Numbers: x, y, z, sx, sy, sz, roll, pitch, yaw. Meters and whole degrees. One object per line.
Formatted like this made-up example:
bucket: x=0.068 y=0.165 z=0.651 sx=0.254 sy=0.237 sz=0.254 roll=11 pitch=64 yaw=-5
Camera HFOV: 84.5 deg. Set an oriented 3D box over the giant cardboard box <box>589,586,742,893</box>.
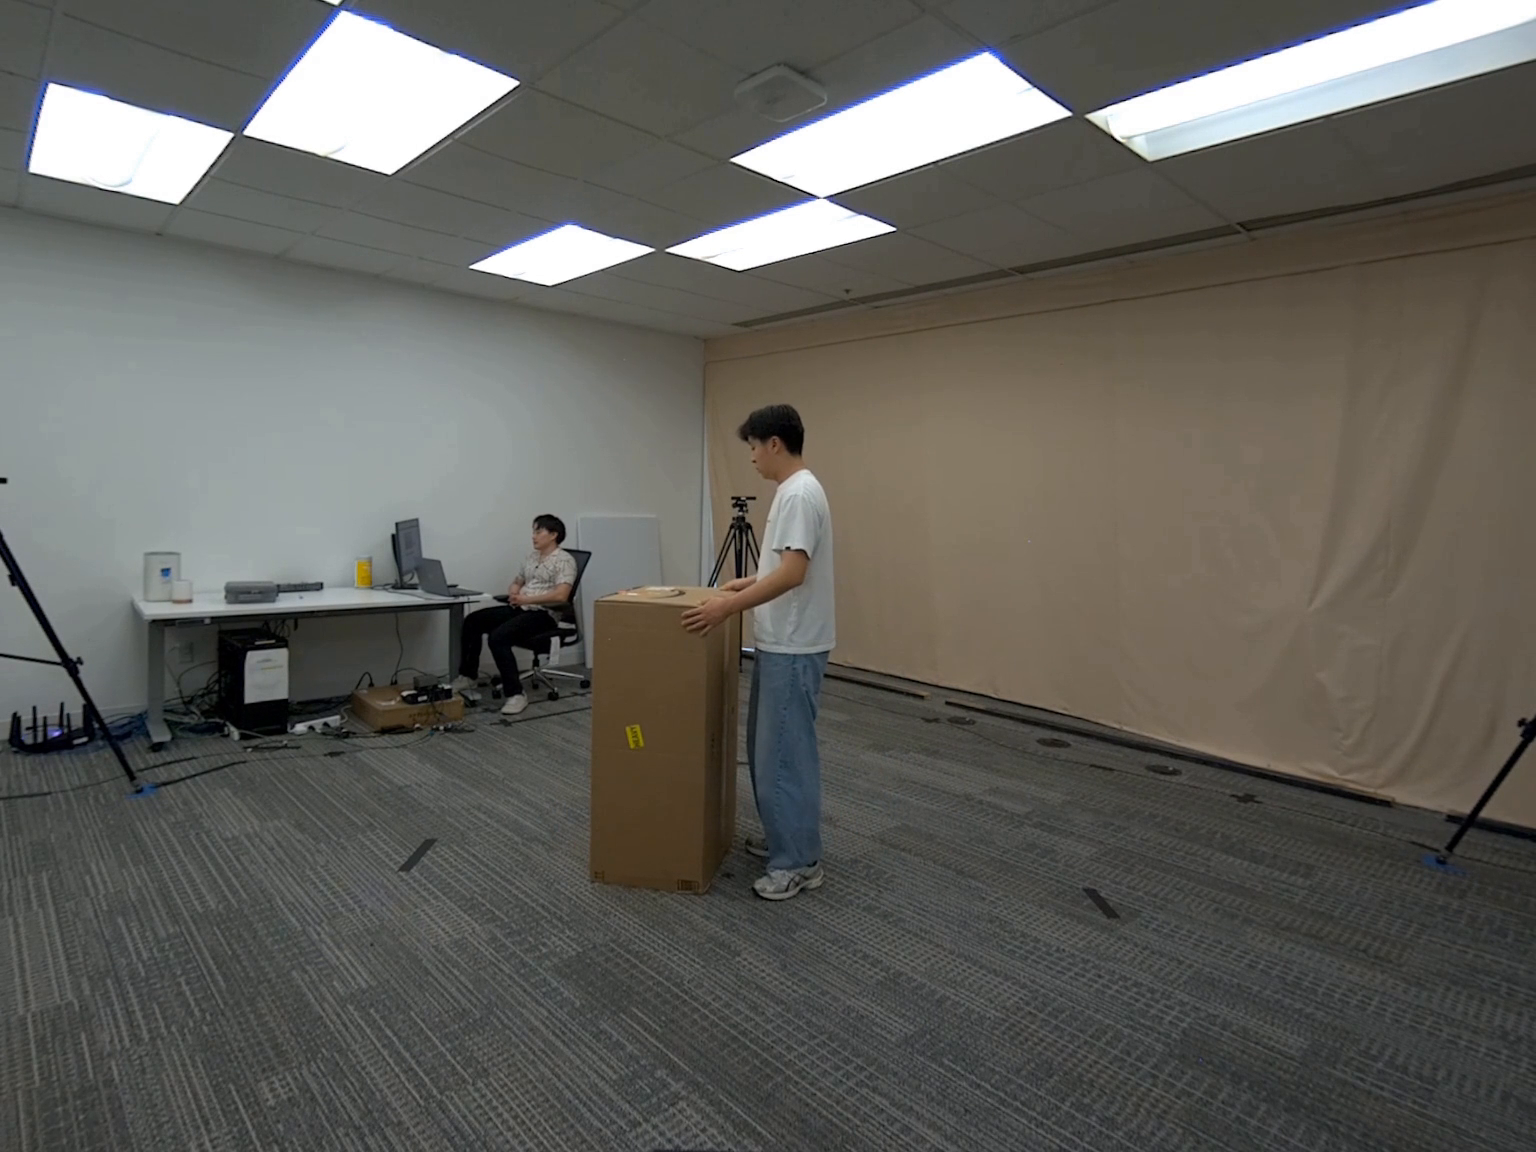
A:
giant cardboard box: x=-0.378 y=0.578 z=3.234 sx=0.430 sy=1.023 sz=0.573 roll=2 pitch=3 yaw=10
